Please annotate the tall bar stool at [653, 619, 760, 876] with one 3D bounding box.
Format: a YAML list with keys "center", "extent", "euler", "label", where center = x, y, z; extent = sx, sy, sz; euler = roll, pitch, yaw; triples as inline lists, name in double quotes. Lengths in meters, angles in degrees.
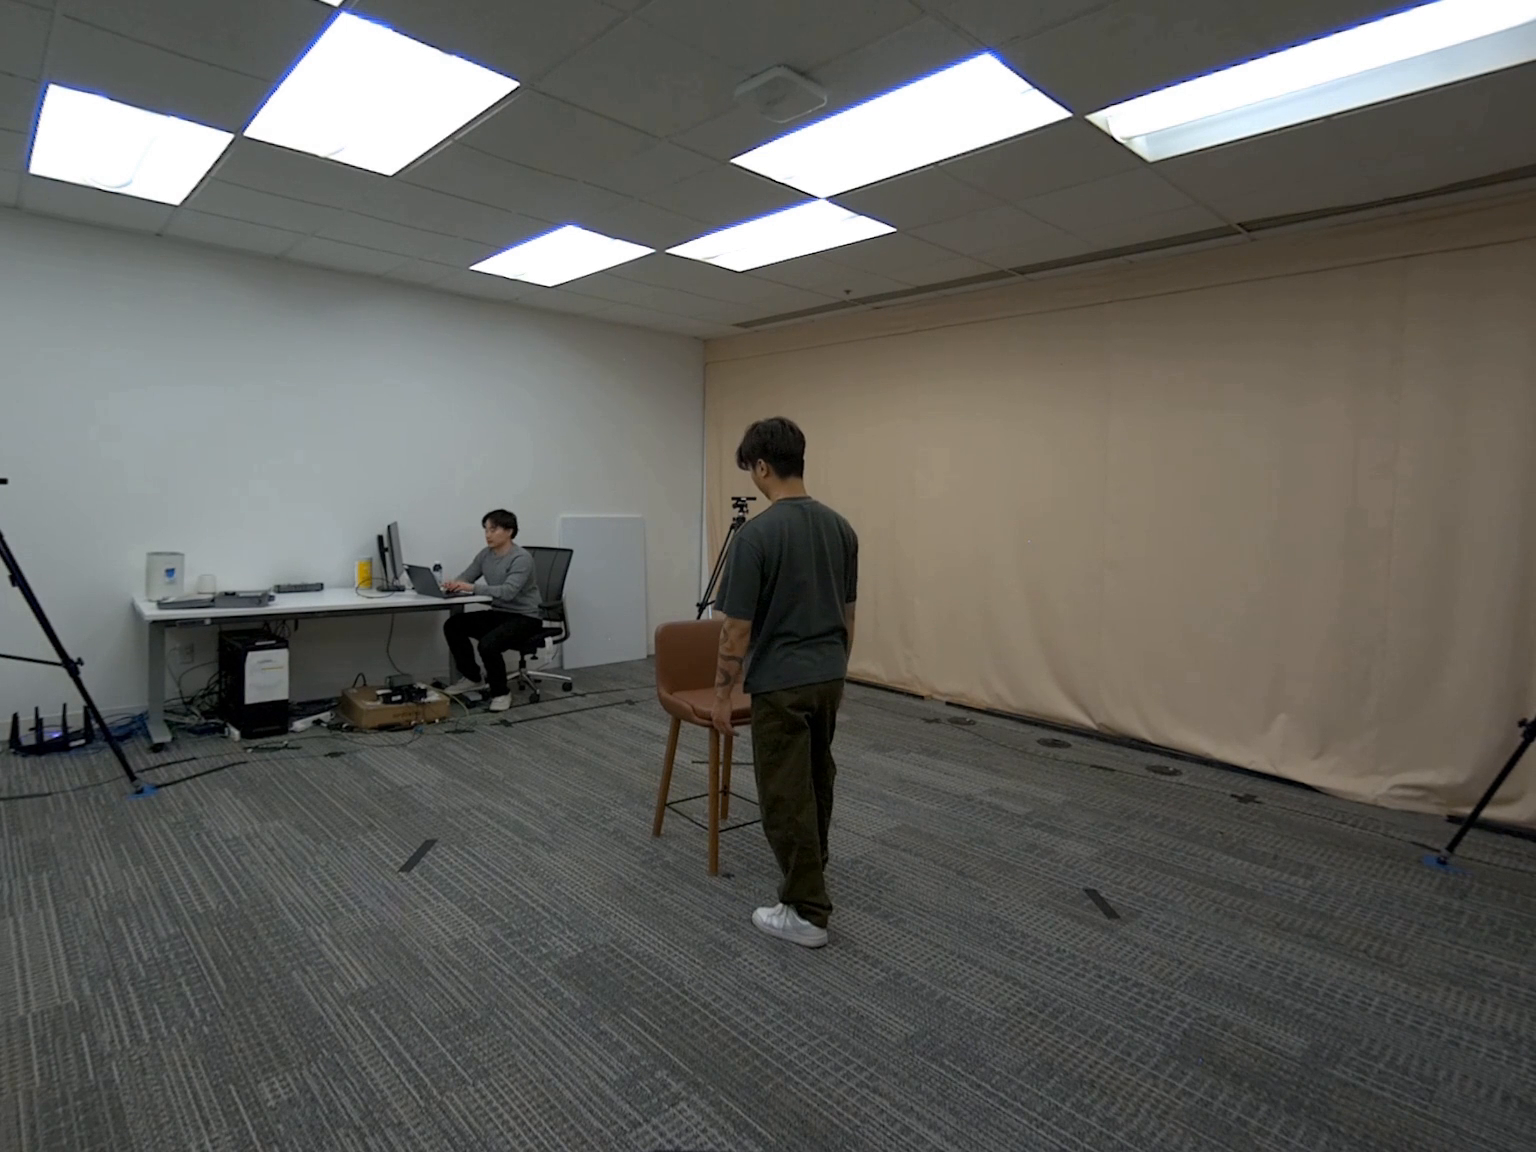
- center: [-0.190, 0.644, 3.369]
  extent: [0.446, 0.888, 0.479]
  euler: [-2, 3, -38]
  label: "tall bar stool"
